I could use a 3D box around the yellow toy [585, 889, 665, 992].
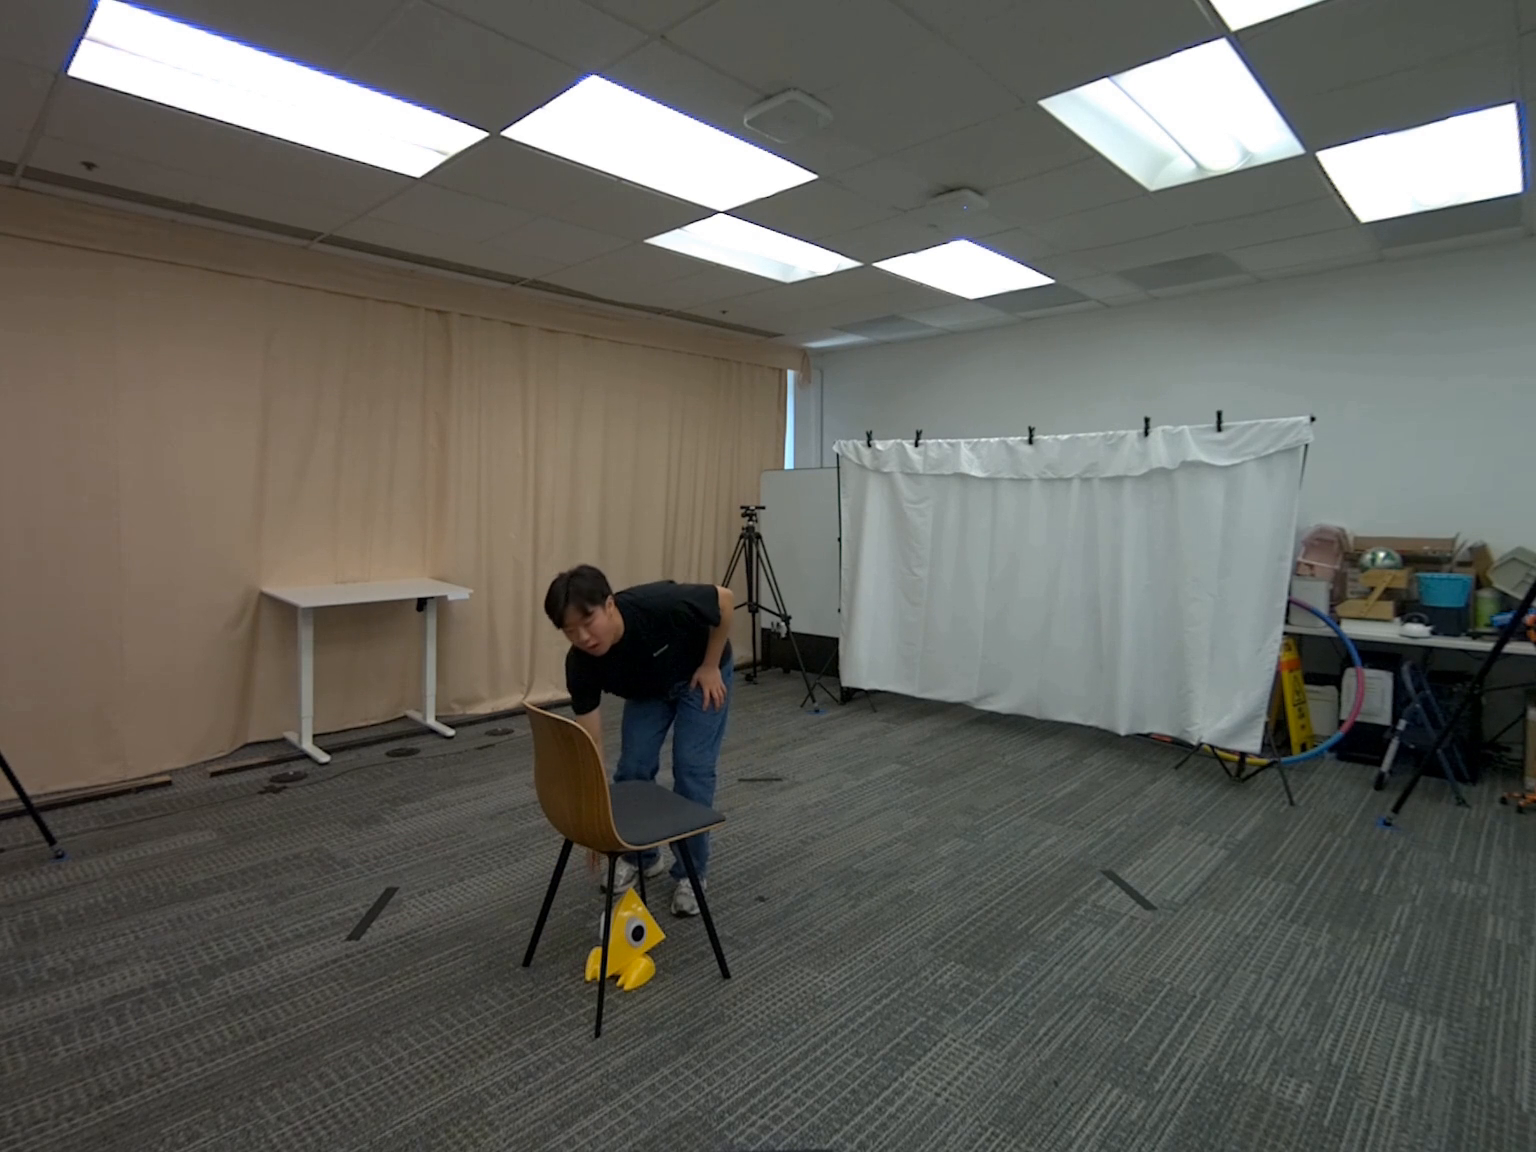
[{"bbox_3d":[-0.431,1.079,2.513,0.209,0.230,0.189,0,4,22],"label":"yellow toy"}]
